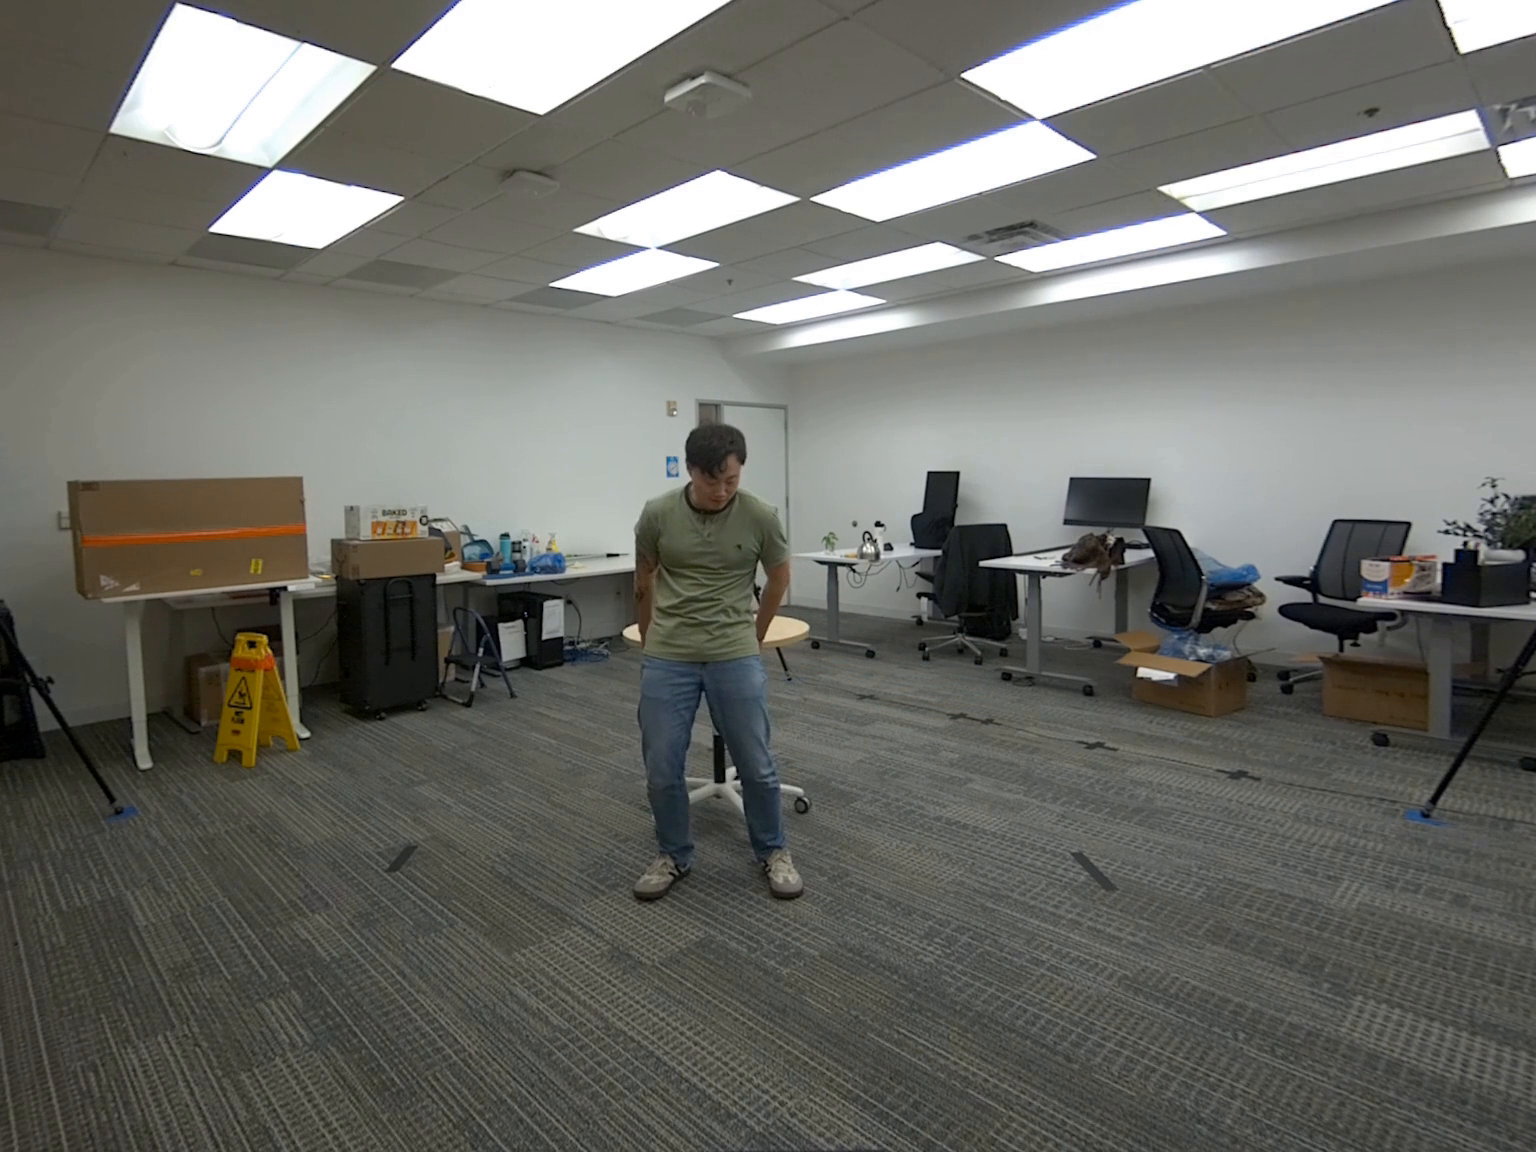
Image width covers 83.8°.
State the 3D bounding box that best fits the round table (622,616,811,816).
[{"bbox_3d":[-0.201,0.609,3.532,0.763,0.791,0.767,-2,4,-2],"label":"round table"}]
